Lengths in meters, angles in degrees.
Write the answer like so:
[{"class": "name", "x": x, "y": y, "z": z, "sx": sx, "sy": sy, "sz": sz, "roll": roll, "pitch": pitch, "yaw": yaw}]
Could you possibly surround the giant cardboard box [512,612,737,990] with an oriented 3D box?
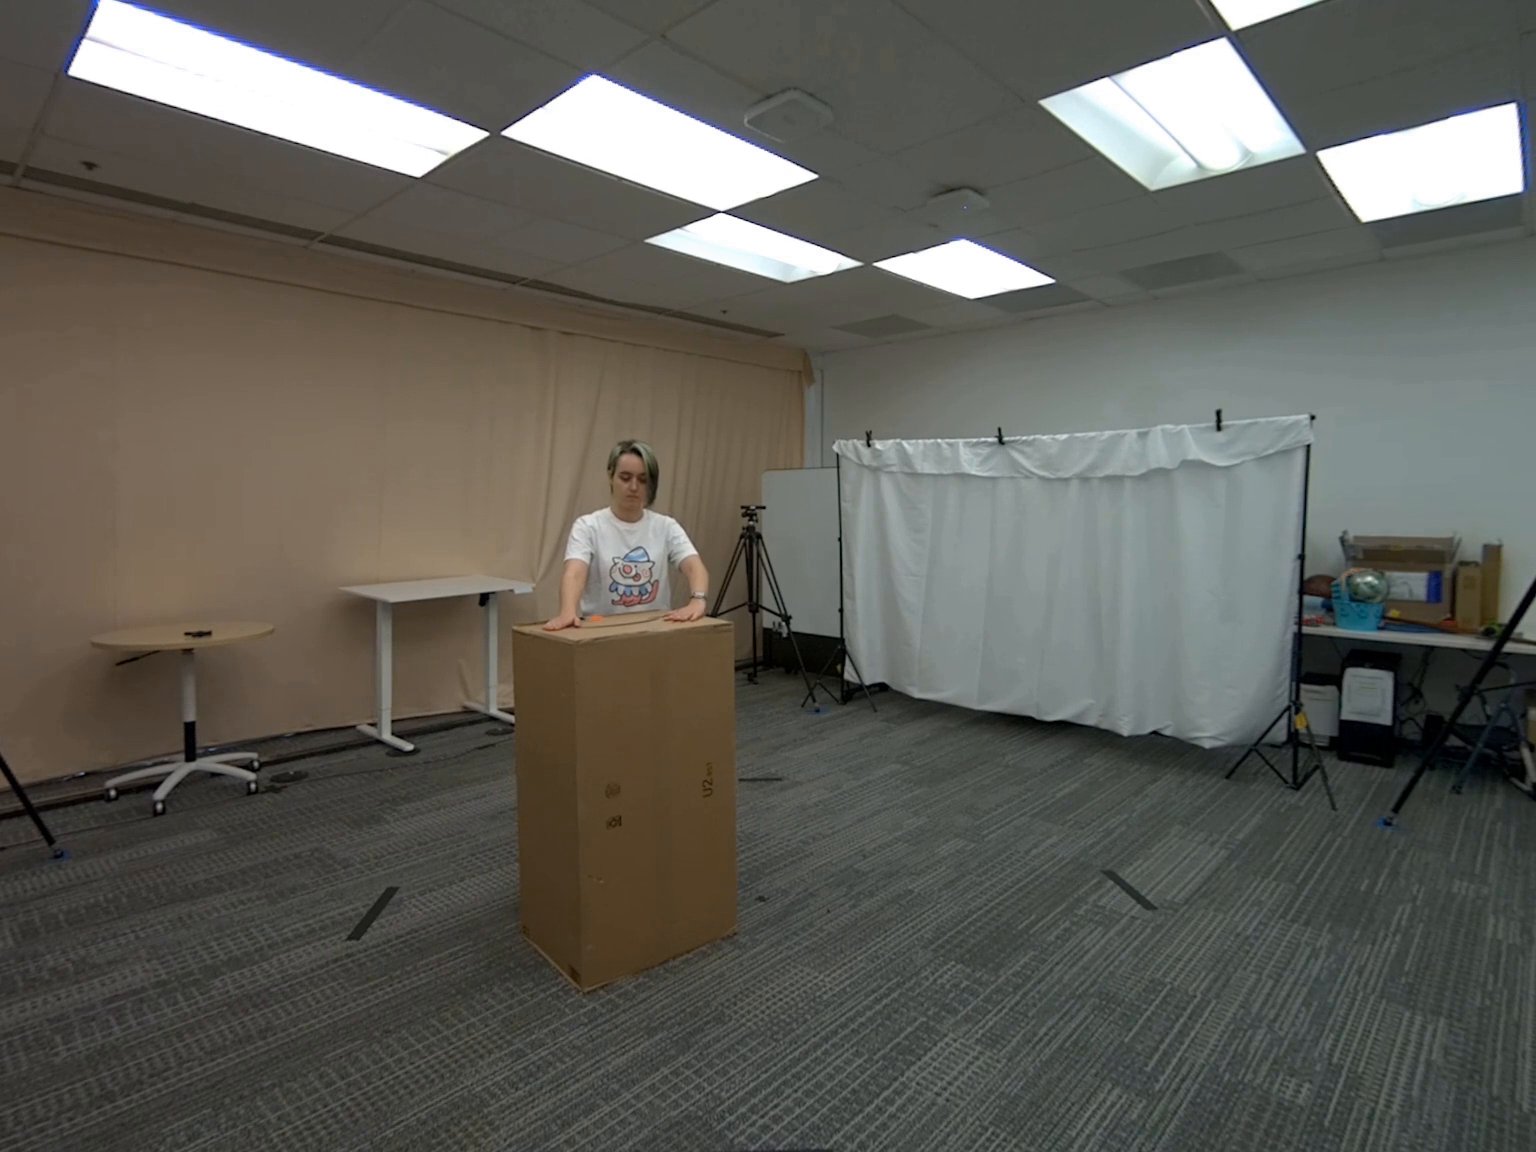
[{"class": "giant cardboard box", "x": -0.453, "y": 0.664, "z": 2.713, "sx": 0.566, "sy": 1.024, "sz": 0.461, "roll": -4, "pitch": 5, "yaw": -39}]
